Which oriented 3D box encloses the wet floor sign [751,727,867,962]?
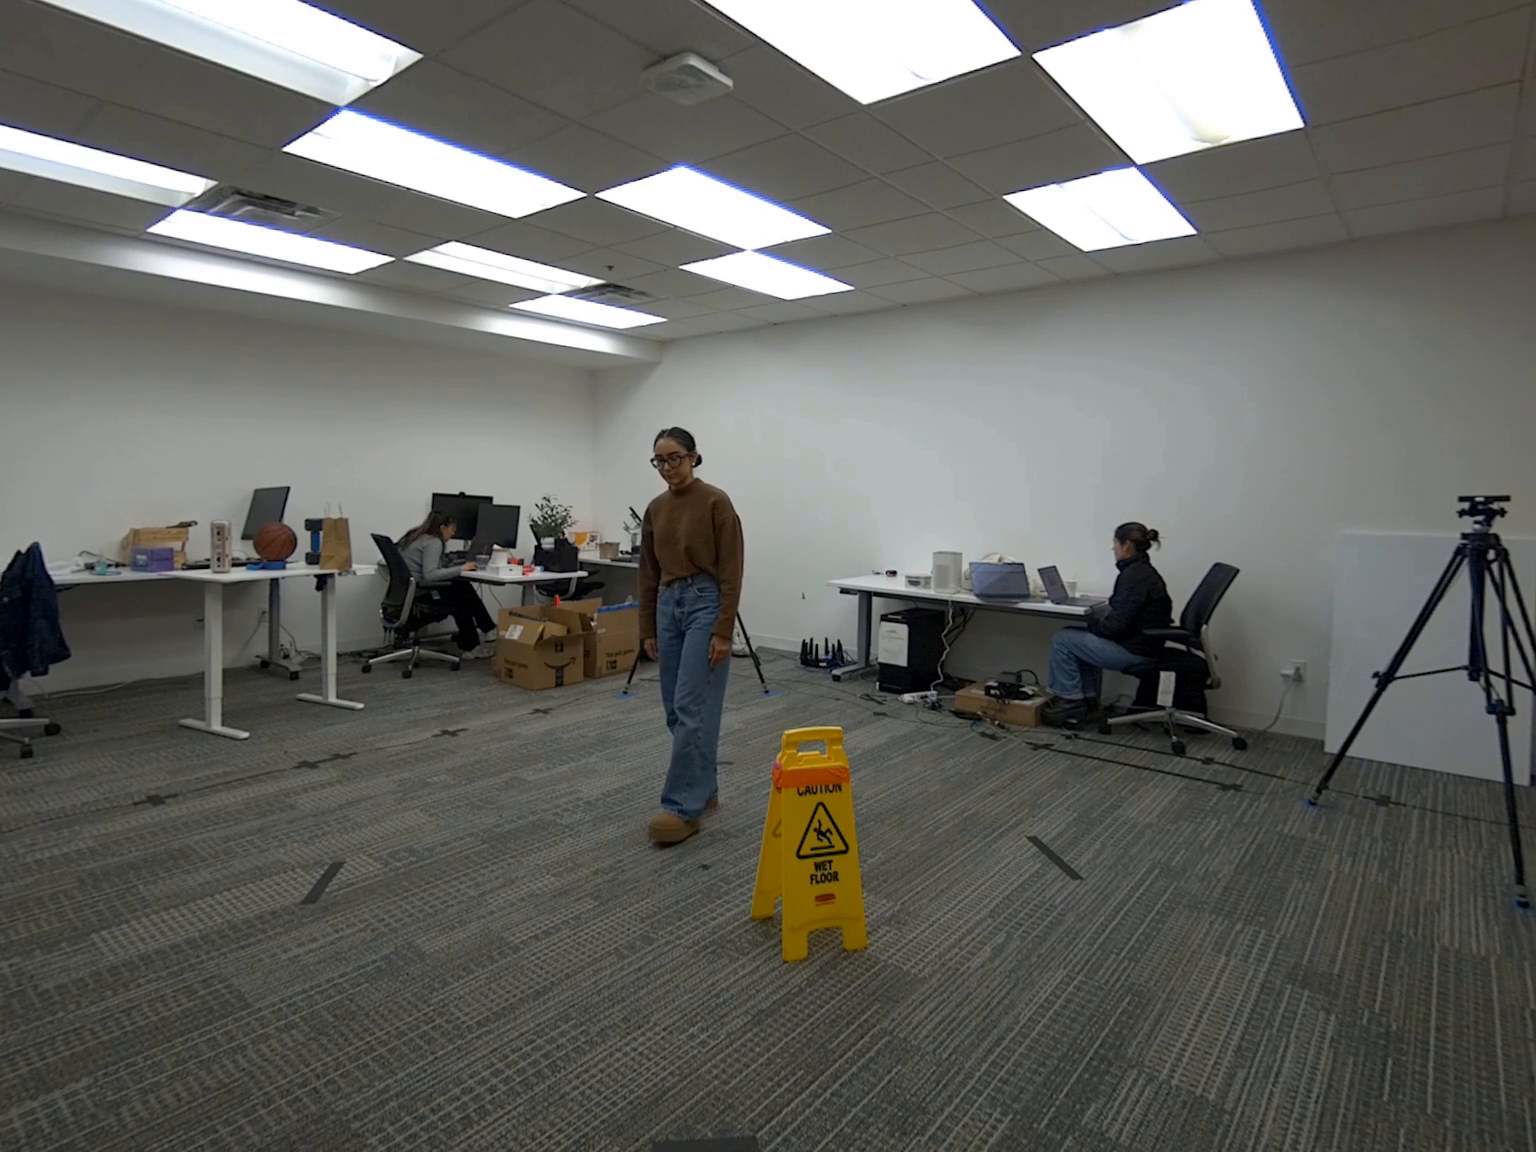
[{"bbox_3d":[0.122,0.792,2.650,0.276,0.644,0.297,-1,4,-21],"label":"wet floor sign"}]
